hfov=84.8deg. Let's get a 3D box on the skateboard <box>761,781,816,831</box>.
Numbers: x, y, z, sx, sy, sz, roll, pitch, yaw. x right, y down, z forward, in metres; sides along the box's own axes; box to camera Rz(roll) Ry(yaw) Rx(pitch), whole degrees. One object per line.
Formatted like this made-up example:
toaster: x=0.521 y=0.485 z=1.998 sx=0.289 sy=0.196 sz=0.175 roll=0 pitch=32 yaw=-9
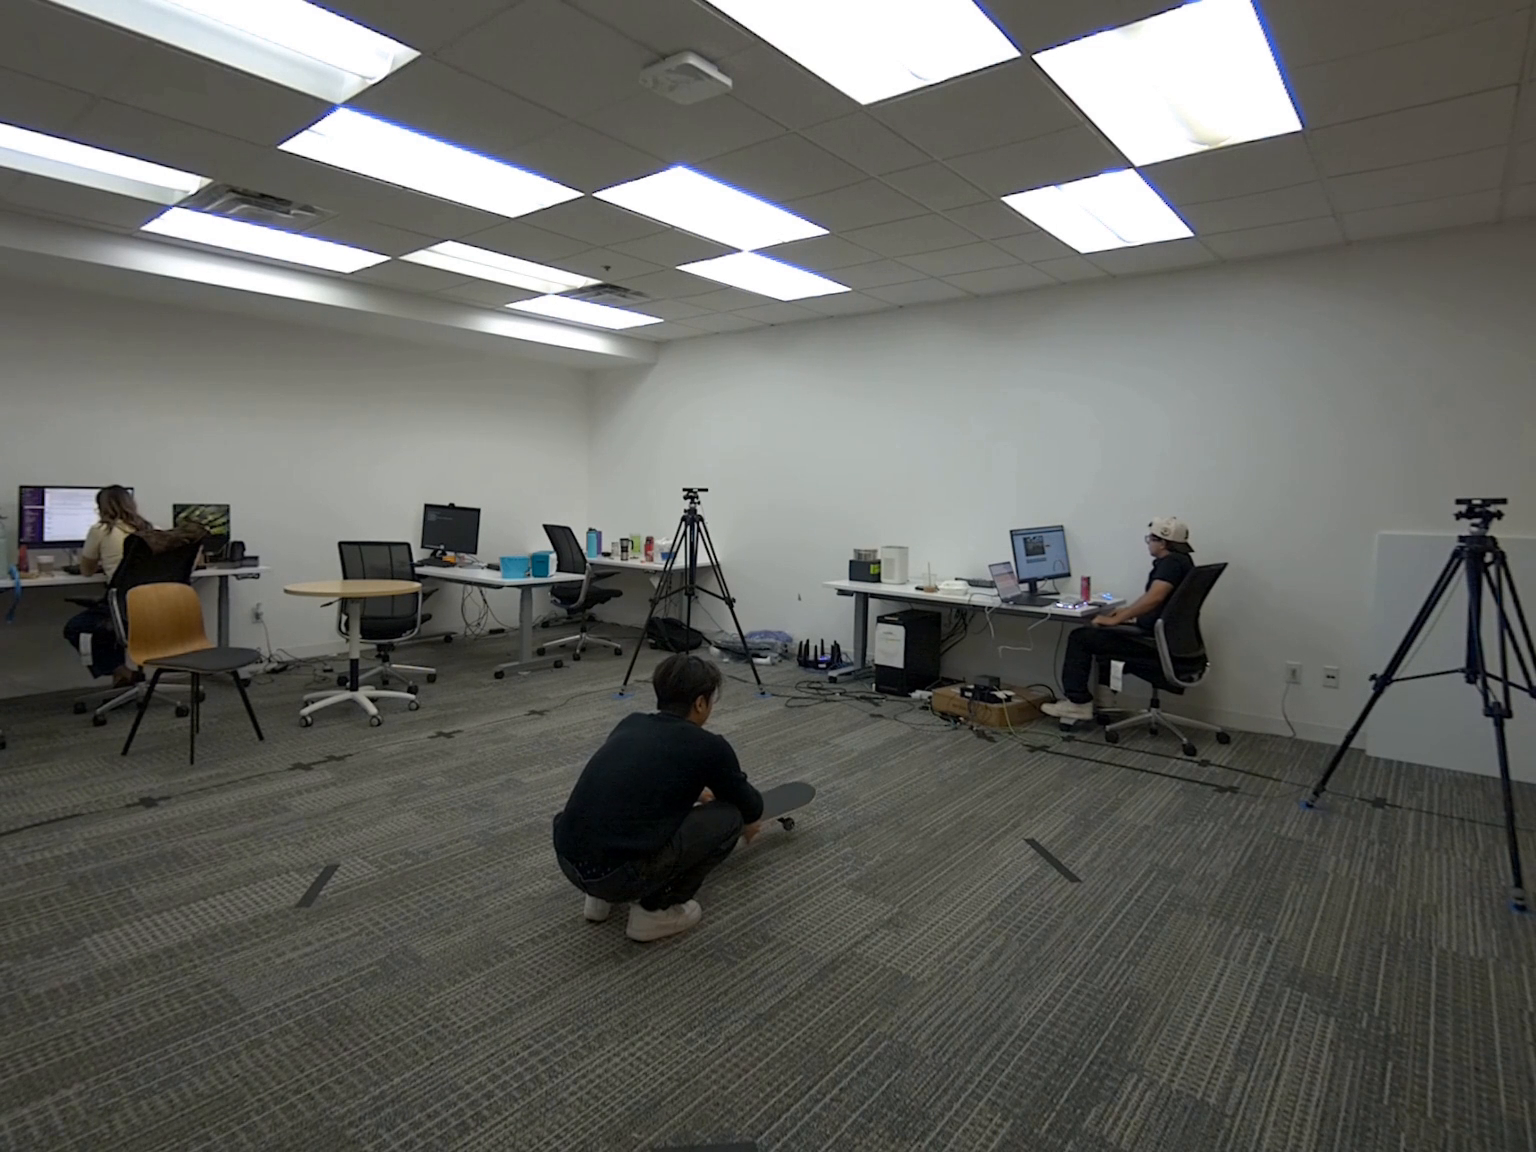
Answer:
skateboard: x=-0.117 y=0.949 z=3.257 sx=0.764 sy=0.109 sz=0.201 roll=-8 pitch=15 yaw=-40
